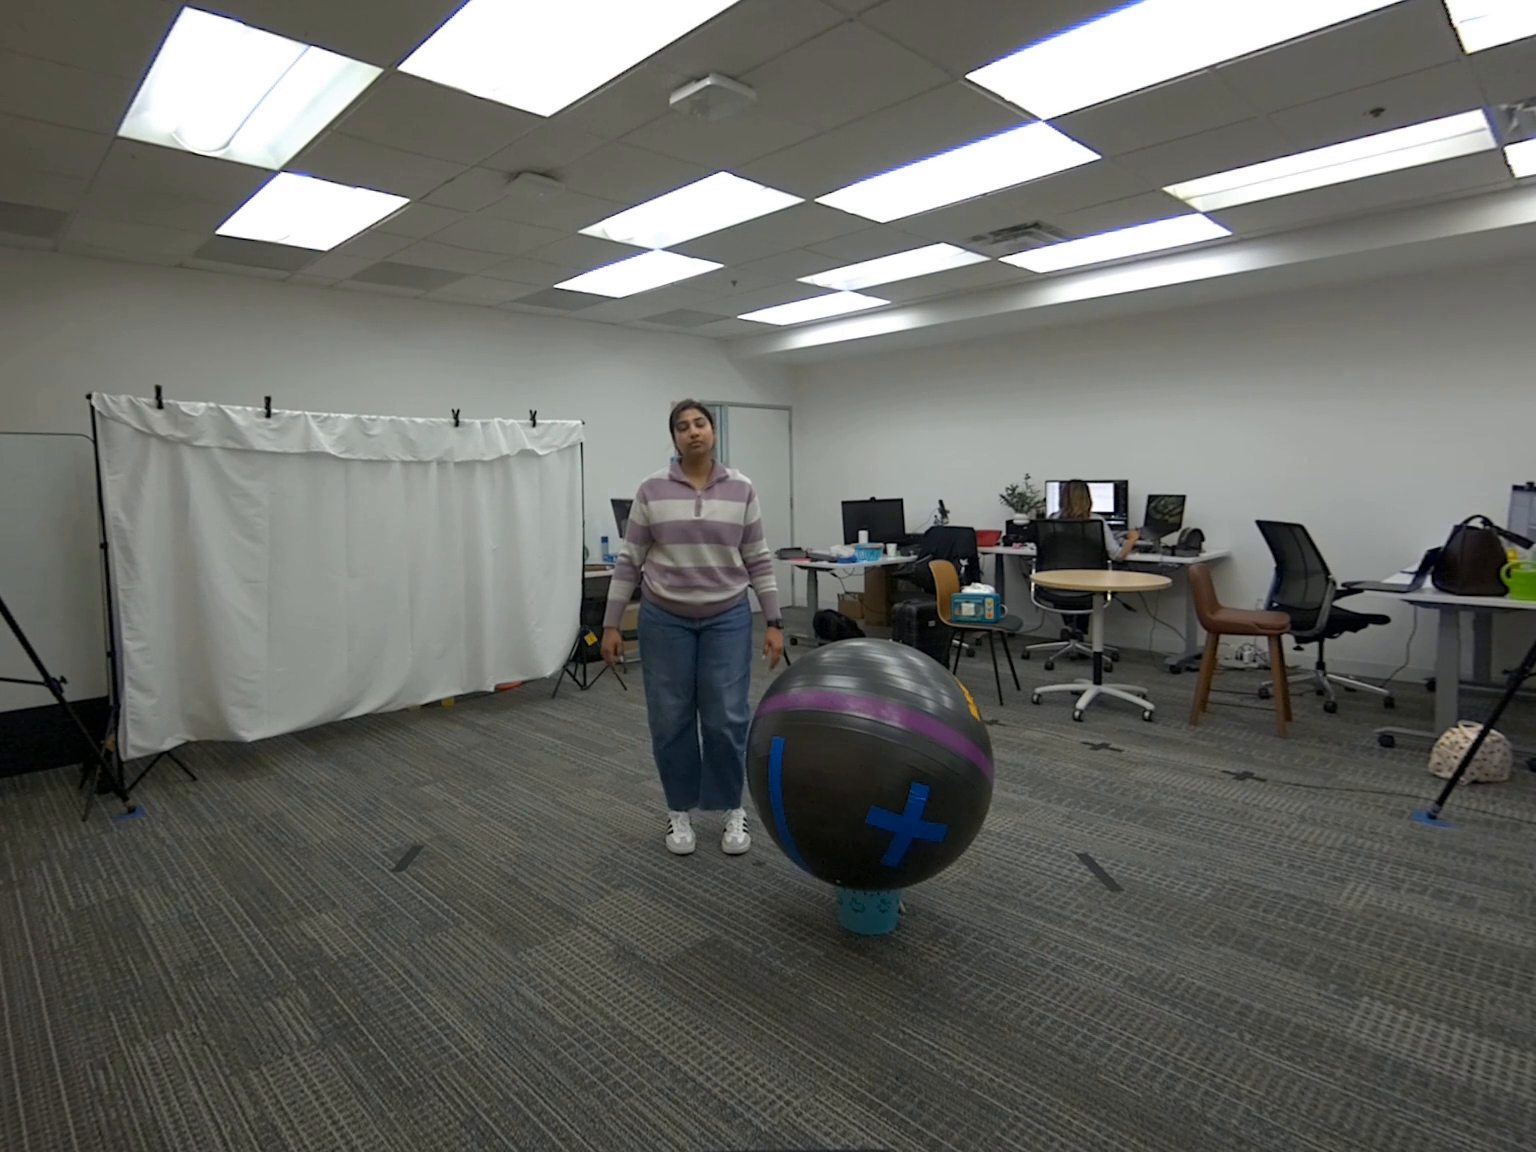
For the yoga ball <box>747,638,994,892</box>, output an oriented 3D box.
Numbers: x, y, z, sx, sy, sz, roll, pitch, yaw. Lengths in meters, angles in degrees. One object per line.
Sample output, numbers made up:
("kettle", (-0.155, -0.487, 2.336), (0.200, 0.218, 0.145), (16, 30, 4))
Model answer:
("yoga ball", (0.315, 0.590, 2.661), (0.757, 0.755, 0.762), (-1, 5, -2))
